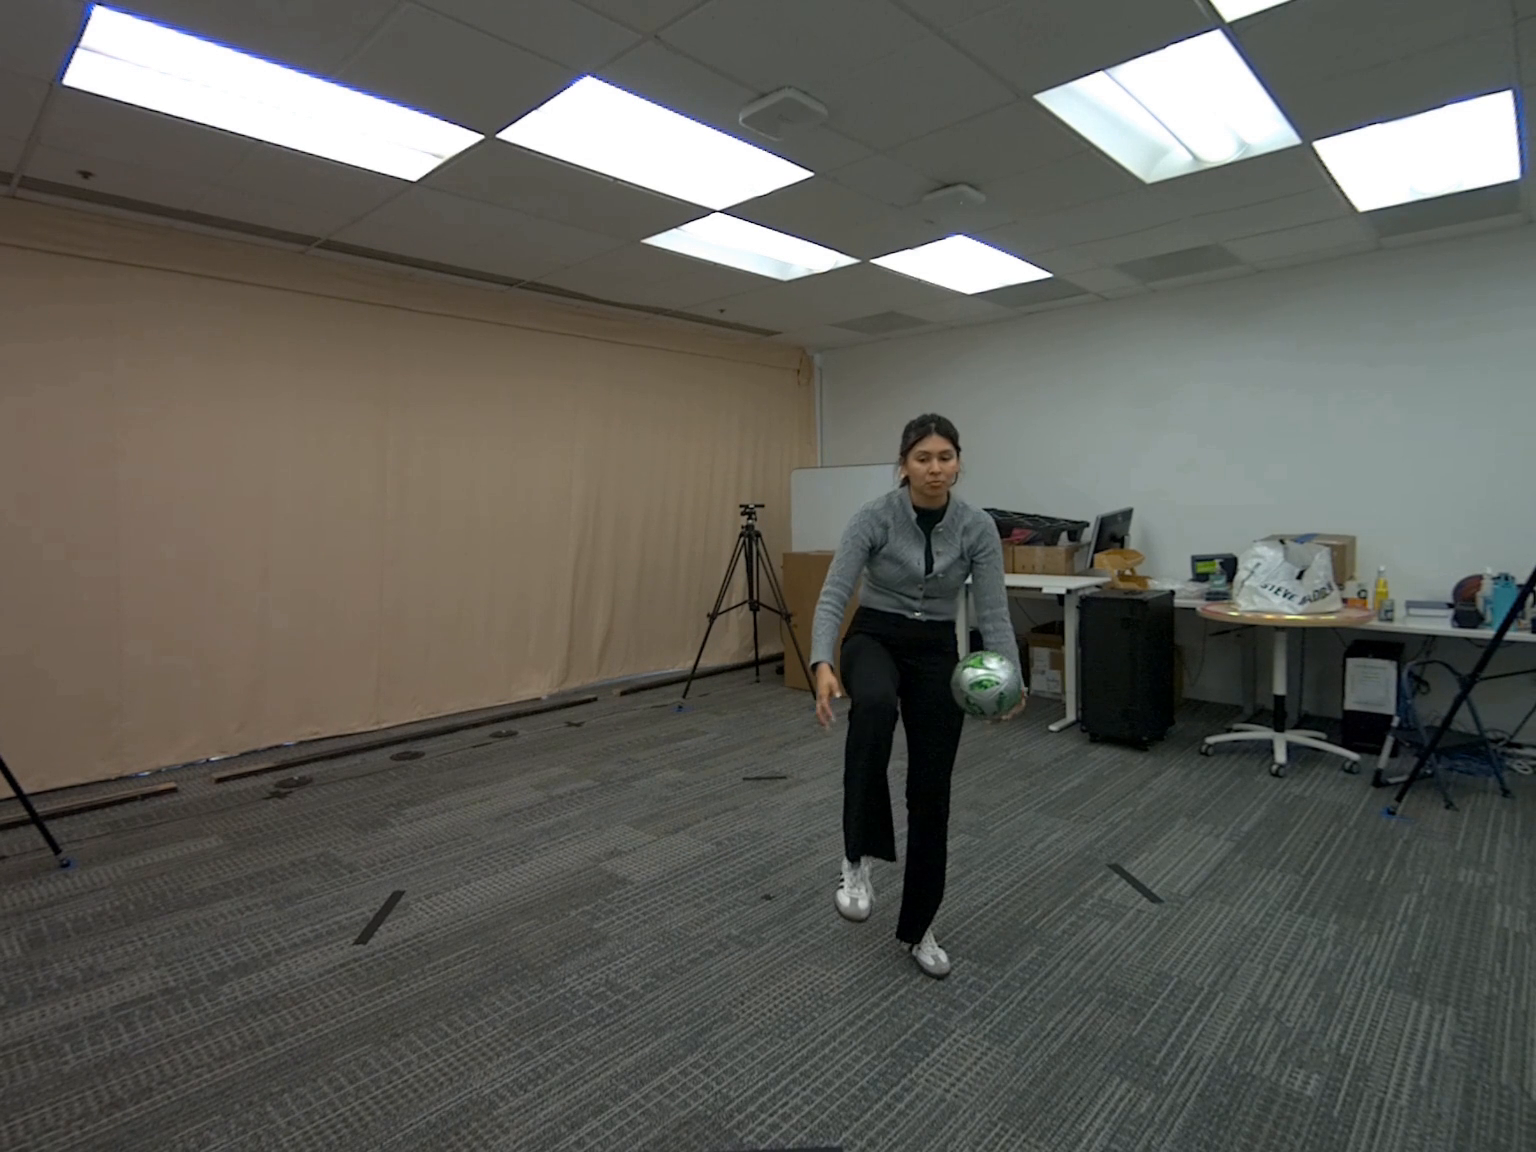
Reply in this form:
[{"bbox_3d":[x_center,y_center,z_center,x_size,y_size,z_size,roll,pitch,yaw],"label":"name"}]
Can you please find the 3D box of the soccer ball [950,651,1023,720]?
[{"bbox_3d":[0.592,0.306,2.345,0.187,0.187,0.188,-1,4,-2],"label":"soccer ball"}]
